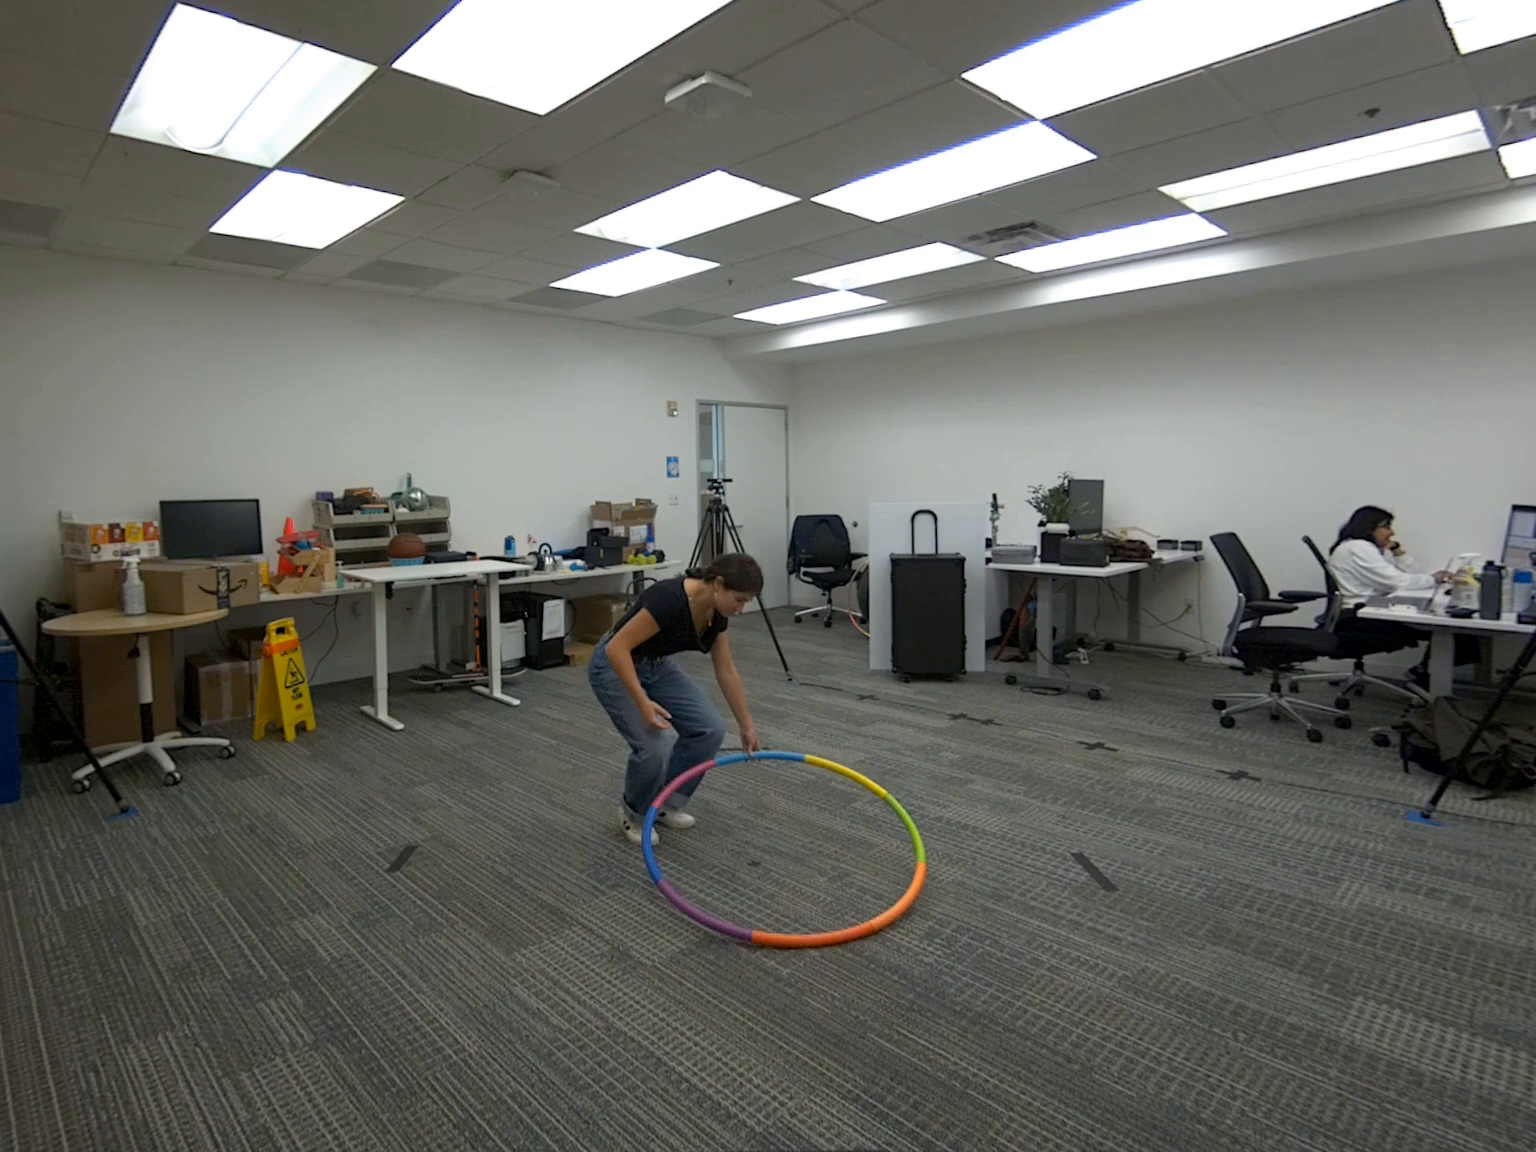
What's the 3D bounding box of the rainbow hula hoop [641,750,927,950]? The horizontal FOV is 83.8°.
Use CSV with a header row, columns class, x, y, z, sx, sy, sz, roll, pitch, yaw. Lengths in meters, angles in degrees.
class,x,y,z,sx,sy,sz,roll,pitch,yaw
rainbow hula hoop,0.054,0.905,3.001,0.977,0.035,0.997,1,22,-2
